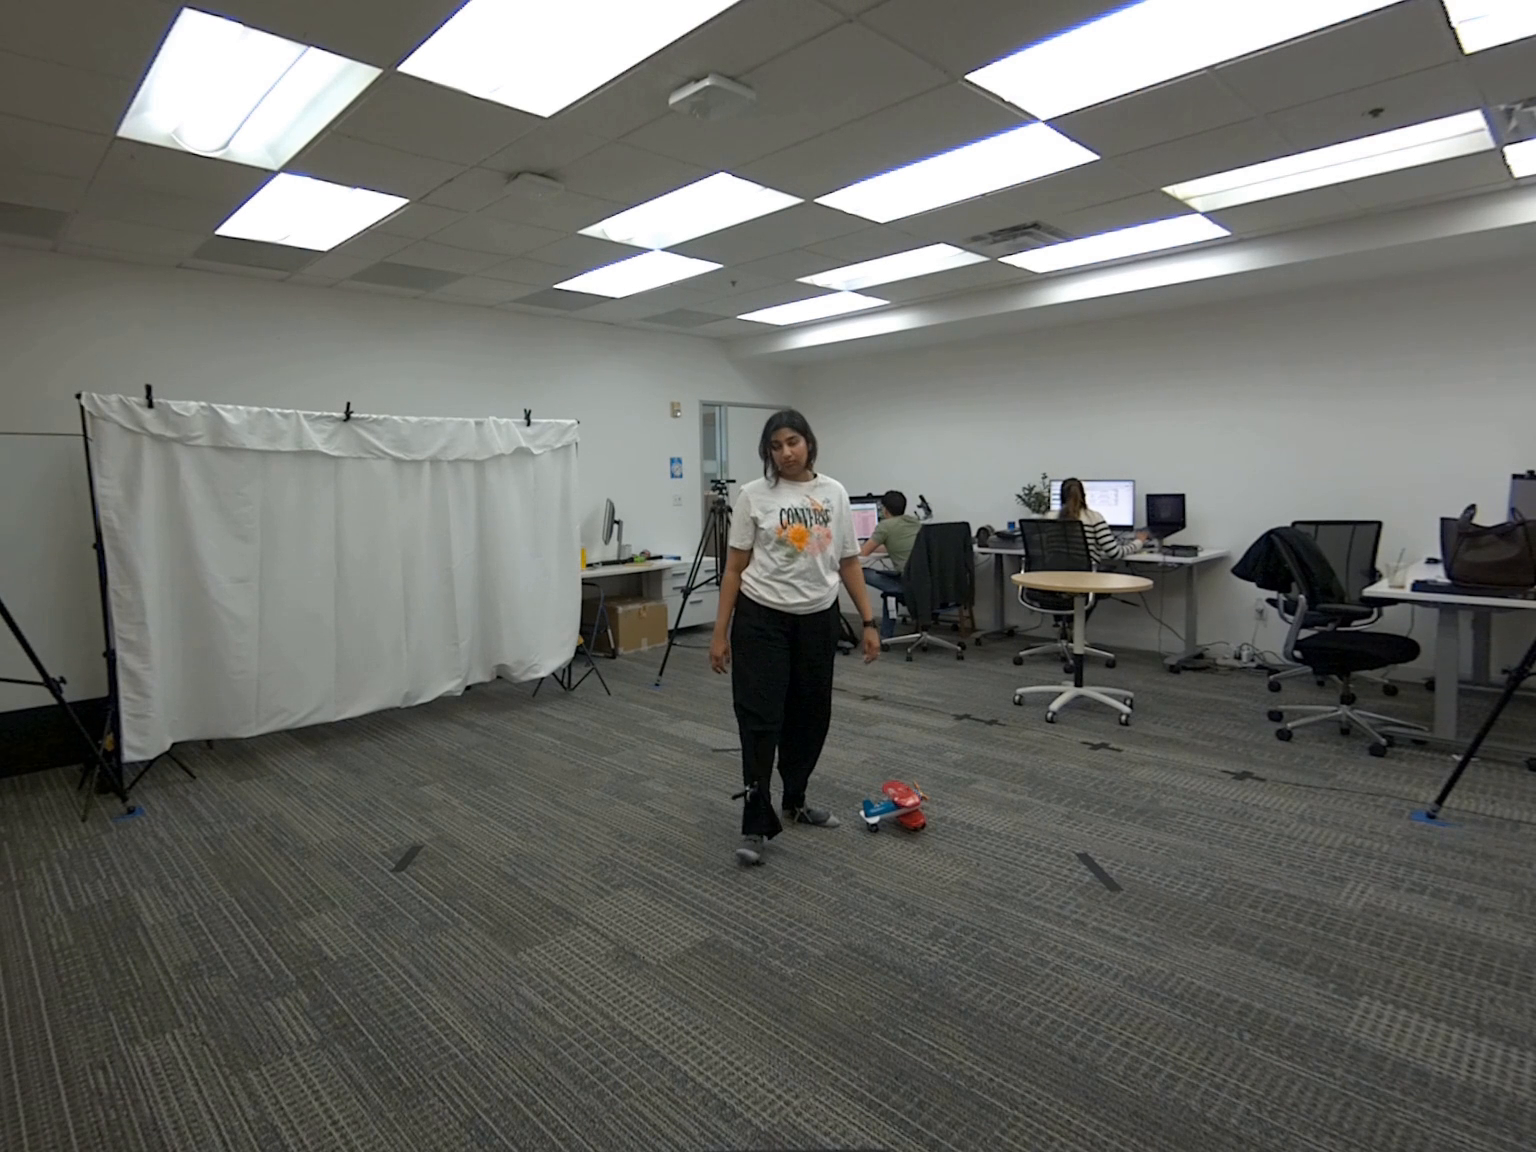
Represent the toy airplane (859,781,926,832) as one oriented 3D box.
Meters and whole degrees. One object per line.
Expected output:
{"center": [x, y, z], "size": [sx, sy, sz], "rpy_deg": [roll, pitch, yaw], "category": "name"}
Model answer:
{"center": [0.507, 0.926, 3.385], "size": [0.252, 0.156, 0.259], "rpy_deg": [-5, 7, -41], "category": "toy airplane"}
